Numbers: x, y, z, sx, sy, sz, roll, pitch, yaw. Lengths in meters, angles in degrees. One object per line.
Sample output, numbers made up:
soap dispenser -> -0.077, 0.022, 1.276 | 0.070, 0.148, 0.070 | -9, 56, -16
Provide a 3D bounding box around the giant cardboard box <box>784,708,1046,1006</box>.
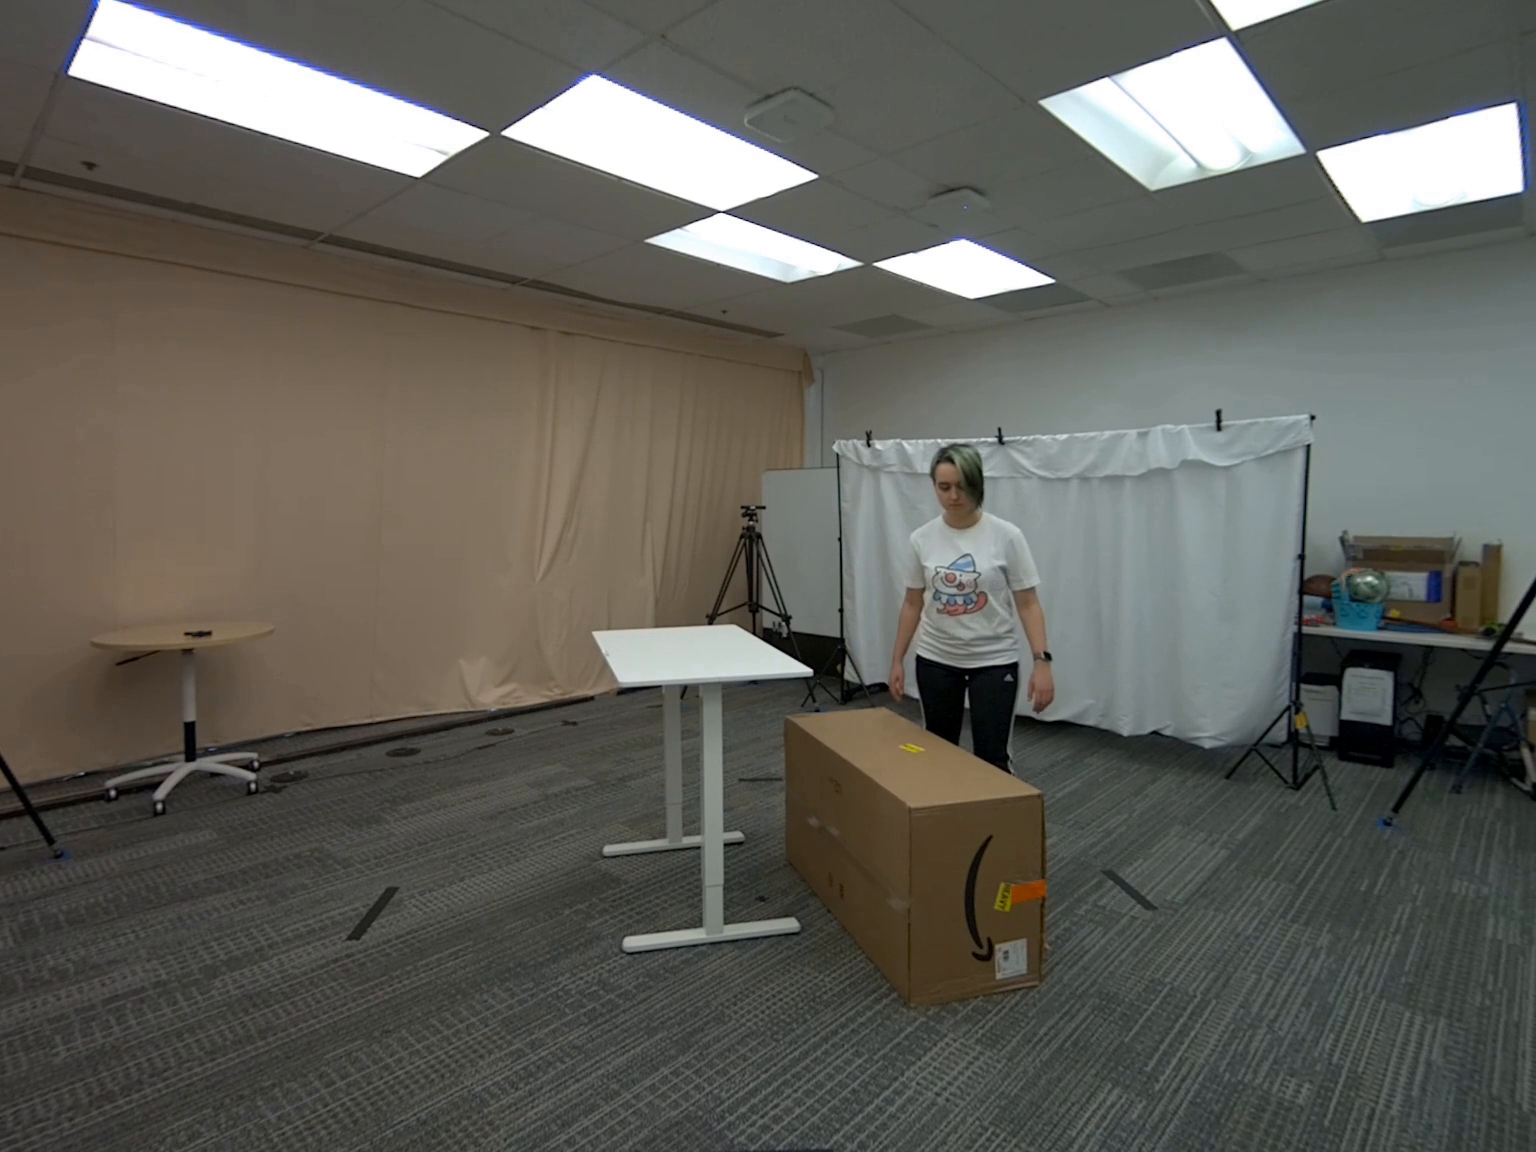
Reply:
giant cardboard box -> 0.434, 0.863, 2.854 | 0.439, 0.582, 1.048 | -1, 5, -18
